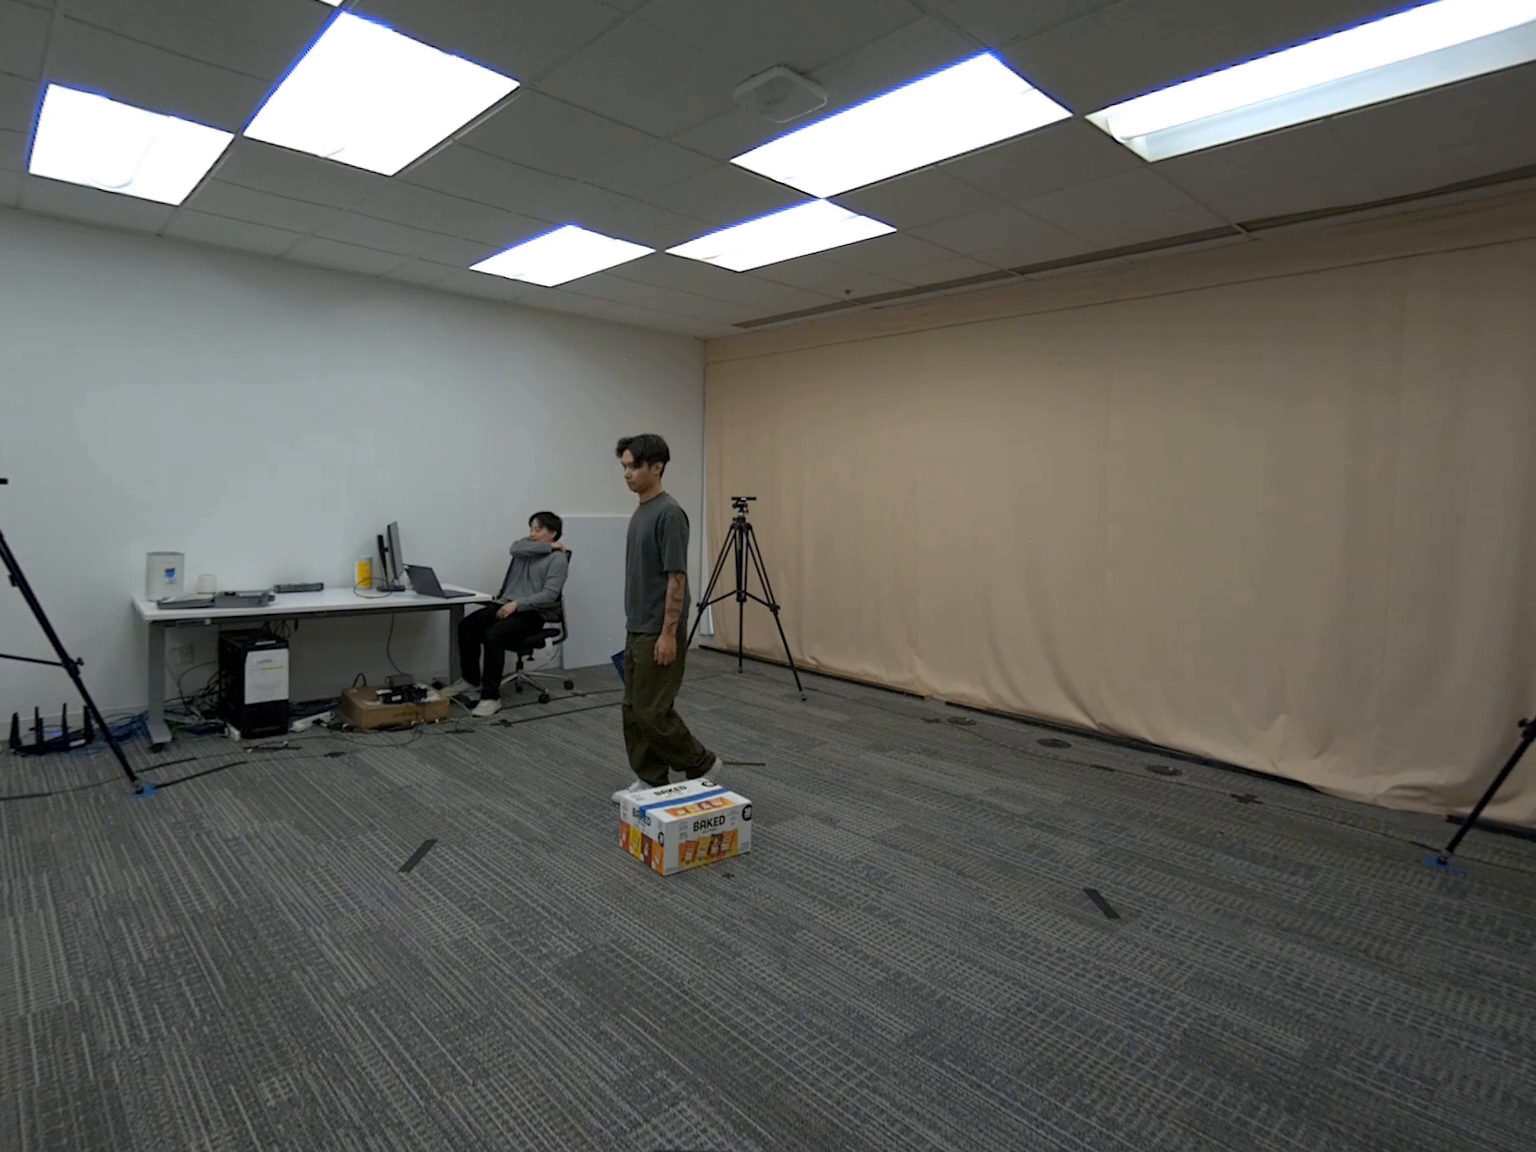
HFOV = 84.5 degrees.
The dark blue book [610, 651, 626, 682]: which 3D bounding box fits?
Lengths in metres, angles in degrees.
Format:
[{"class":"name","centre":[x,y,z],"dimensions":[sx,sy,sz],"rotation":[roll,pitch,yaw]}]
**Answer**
[{"class":"dark blue book","centre":[-0.617,0.400,4.053],"dimensions":[0.245,0.164,0.045],"rotation":[-26,-2,1]}]
